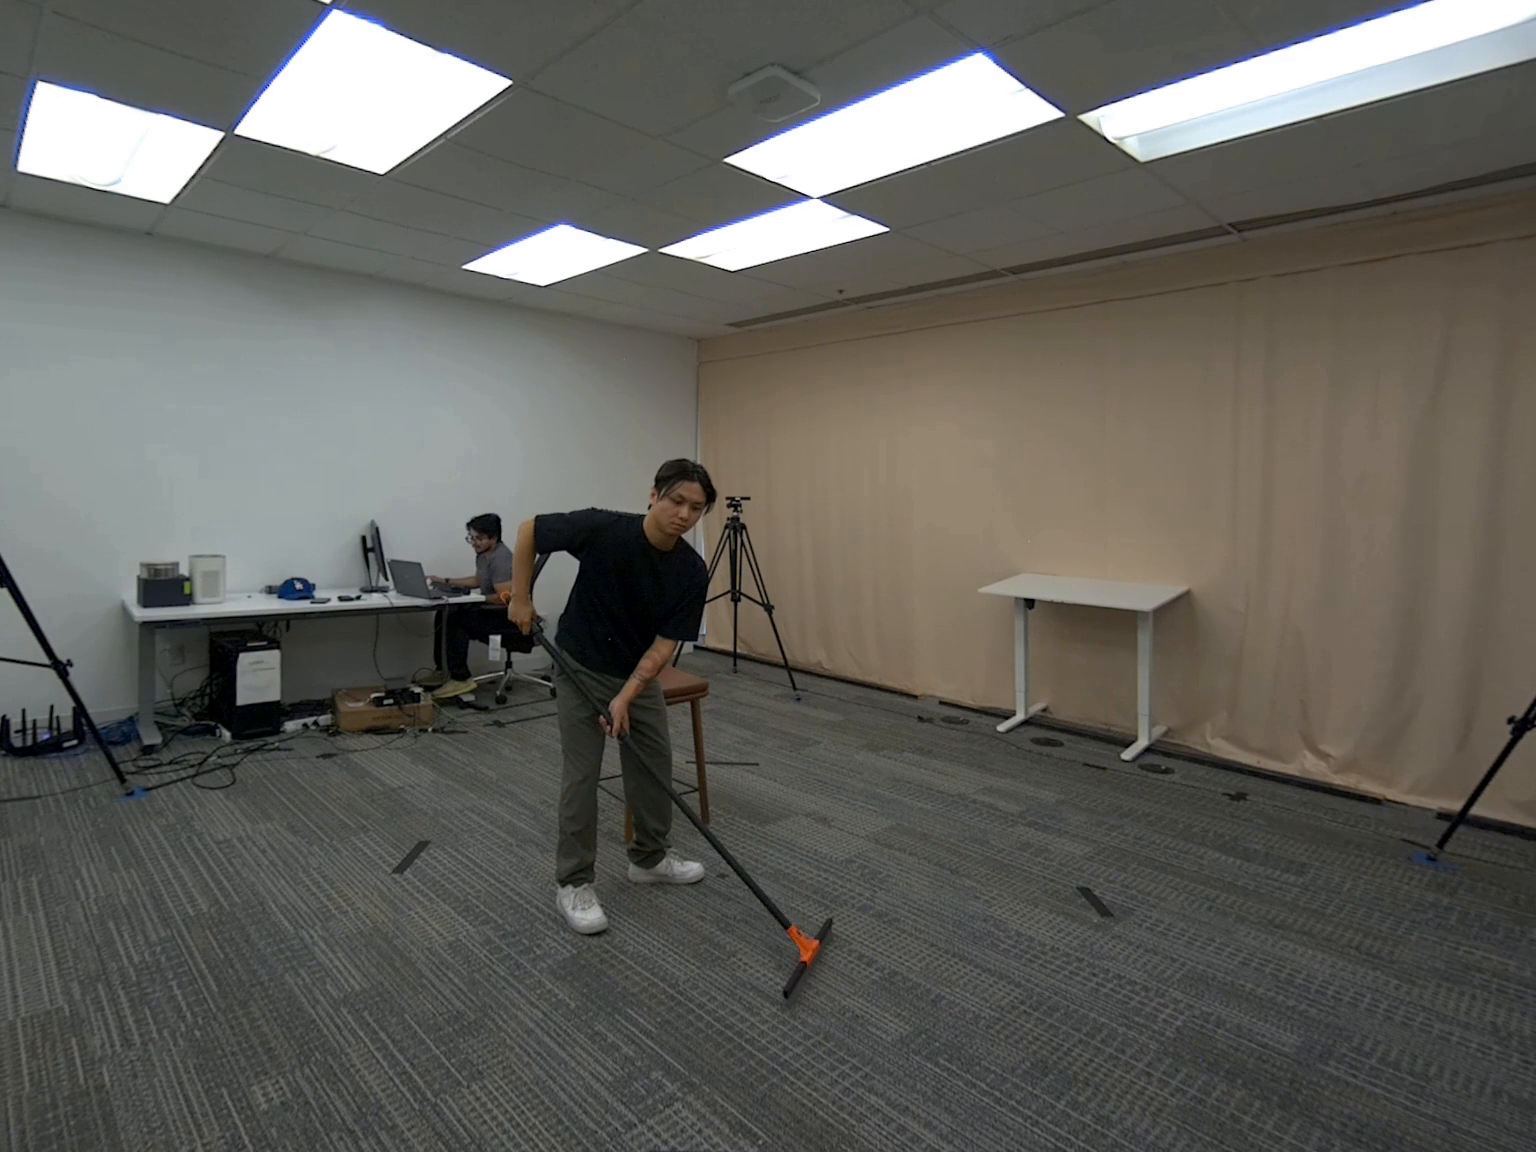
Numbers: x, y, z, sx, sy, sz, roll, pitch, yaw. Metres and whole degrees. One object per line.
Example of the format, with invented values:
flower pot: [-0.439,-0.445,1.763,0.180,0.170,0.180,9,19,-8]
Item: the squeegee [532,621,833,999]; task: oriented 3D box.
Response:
squeegee: [-0.389,0.604,2.679,1.559,0.053,0.431,45,16,13]
